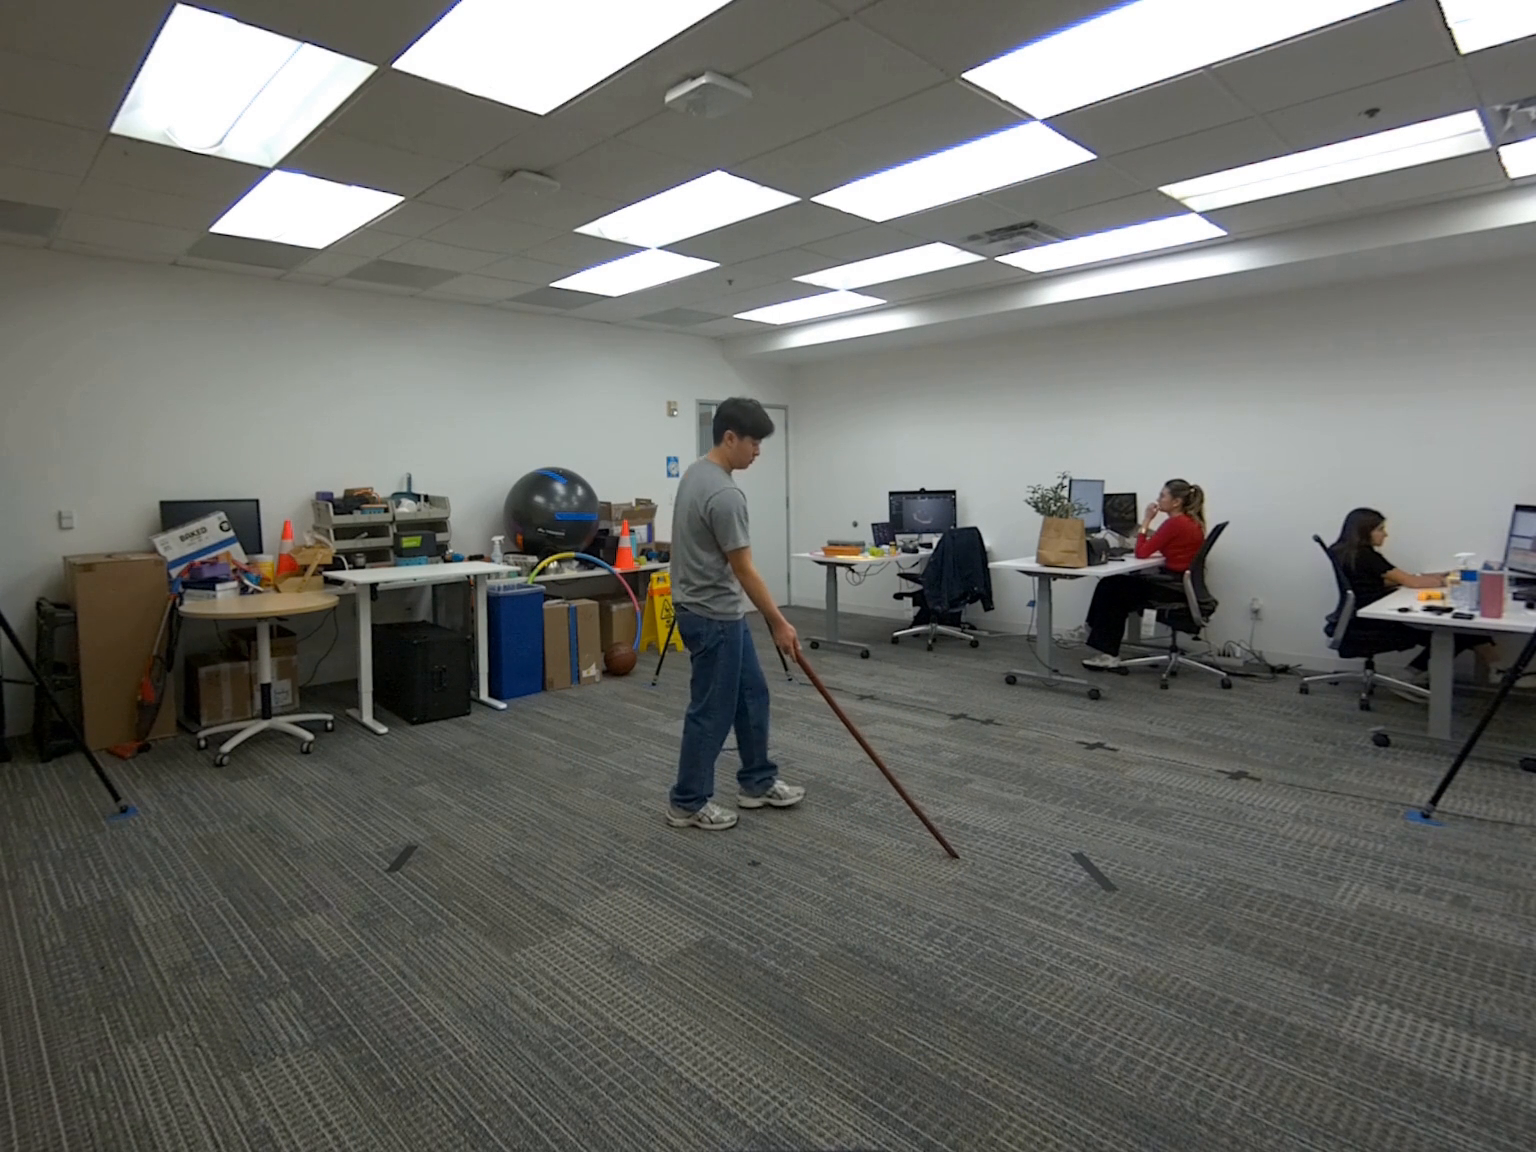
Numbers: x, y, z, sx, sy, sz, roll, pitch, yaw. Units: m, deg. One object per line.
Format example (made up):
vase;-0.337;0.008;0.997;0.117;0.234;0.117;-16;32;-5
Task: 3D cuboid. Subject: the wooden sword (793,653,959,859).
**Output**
wooden sword;0.382;0.637;3.241;0.051;1.041;0.024;-35;-12;-11
